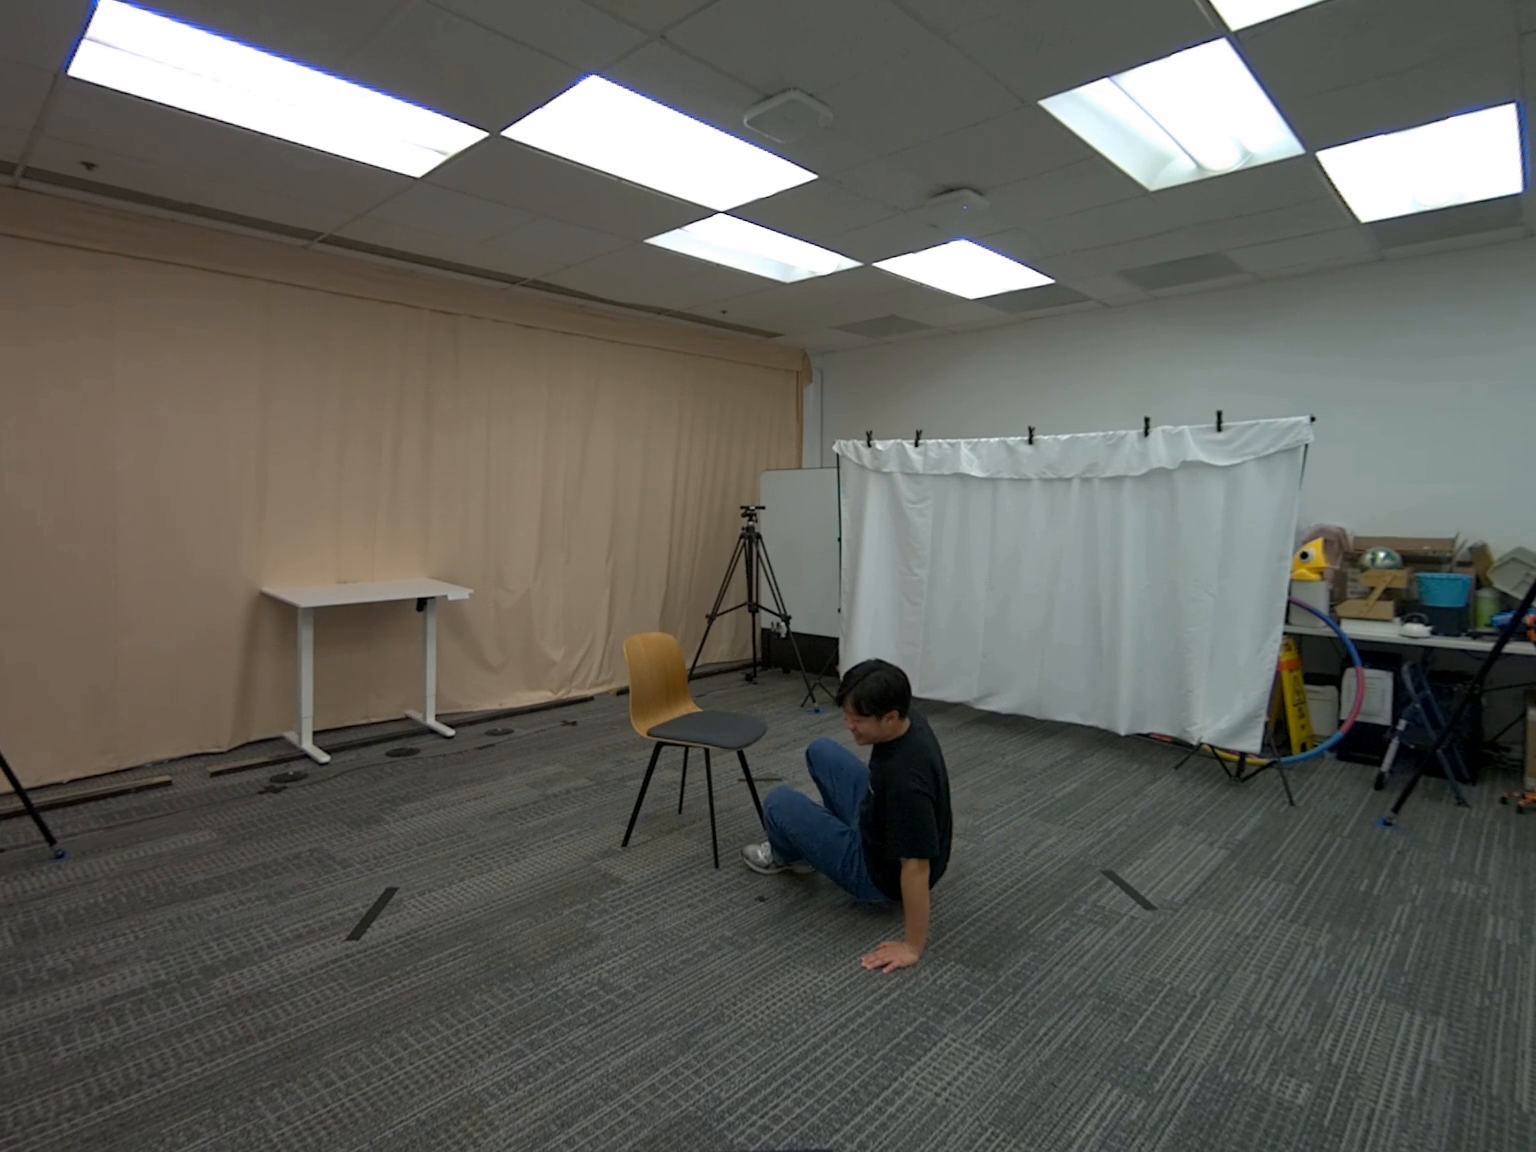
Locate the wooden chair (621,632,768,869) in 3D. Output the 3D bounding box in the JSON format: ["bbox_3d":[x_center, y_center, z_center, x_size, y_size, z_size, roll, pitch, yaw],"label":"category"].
[{"bbox_3d":[-0.294,0.675,3.498,0.537,0.877,0.466,-4,1,28],"label":"wooden chair"}]
